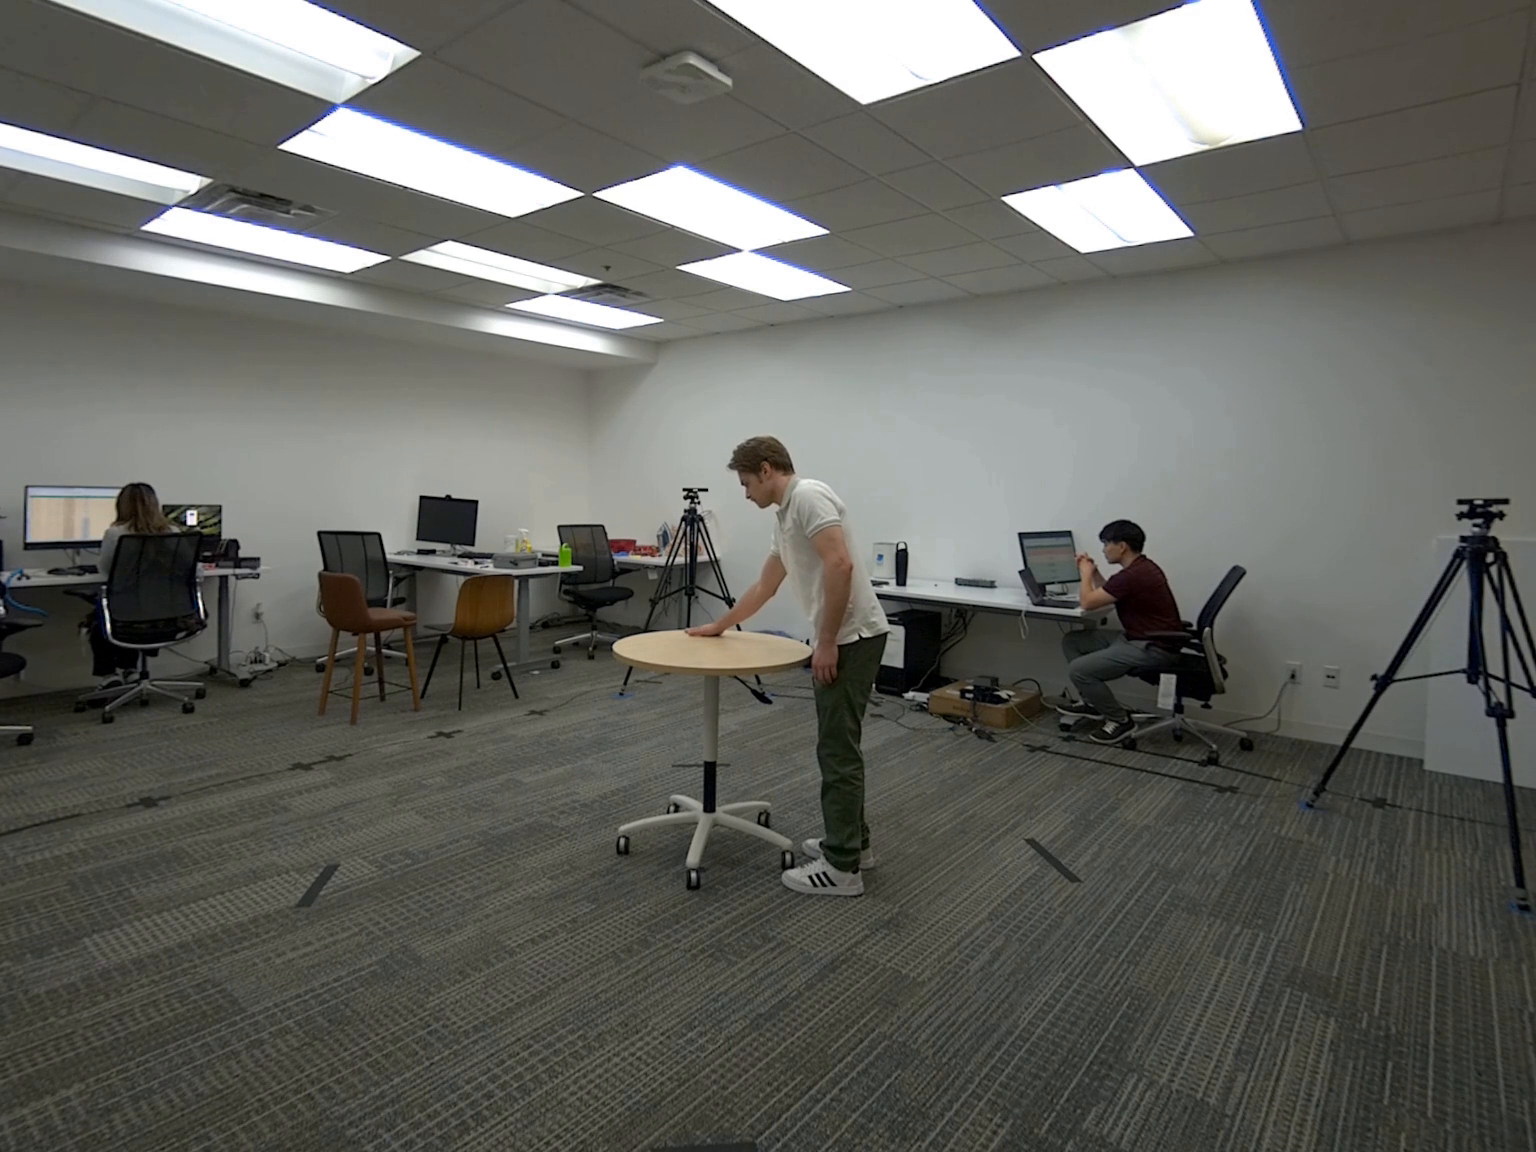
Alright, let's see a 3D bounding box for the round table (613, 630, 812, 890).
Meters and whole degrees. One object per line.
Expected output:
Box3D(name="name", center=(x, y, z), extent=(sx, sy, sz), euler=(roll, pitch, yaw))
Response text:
Box3D(name="round table", center=(-0.240, 0.657, 3.305), extent=(0.784, 0.783, 0.789), euler=(1, 5, -2))
